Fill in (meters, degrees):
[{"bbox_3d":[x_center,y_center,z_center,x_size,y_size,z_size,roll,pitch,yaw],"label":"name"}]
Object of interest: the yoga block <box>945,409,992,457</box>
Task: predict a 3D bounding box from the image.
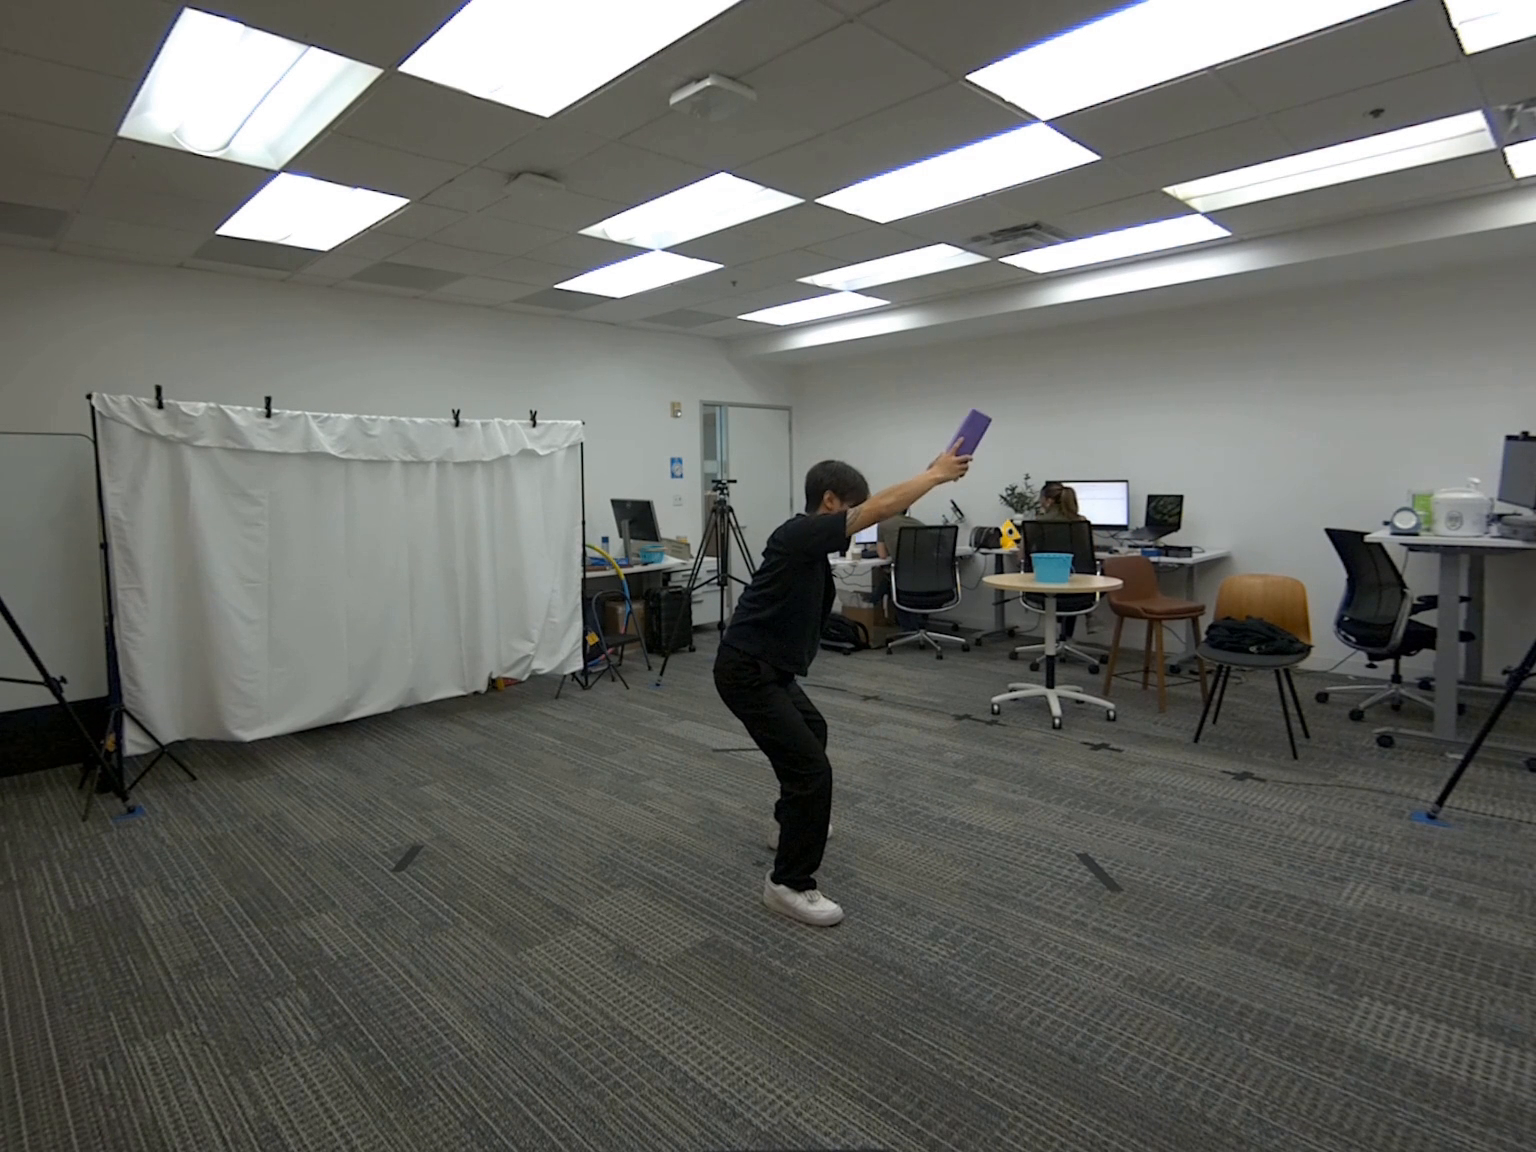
[{"bbox_3d":[0.675,-0.447,2.916,0.077,0.229,0.148,26,0,4],"label":"yoga block"}]
